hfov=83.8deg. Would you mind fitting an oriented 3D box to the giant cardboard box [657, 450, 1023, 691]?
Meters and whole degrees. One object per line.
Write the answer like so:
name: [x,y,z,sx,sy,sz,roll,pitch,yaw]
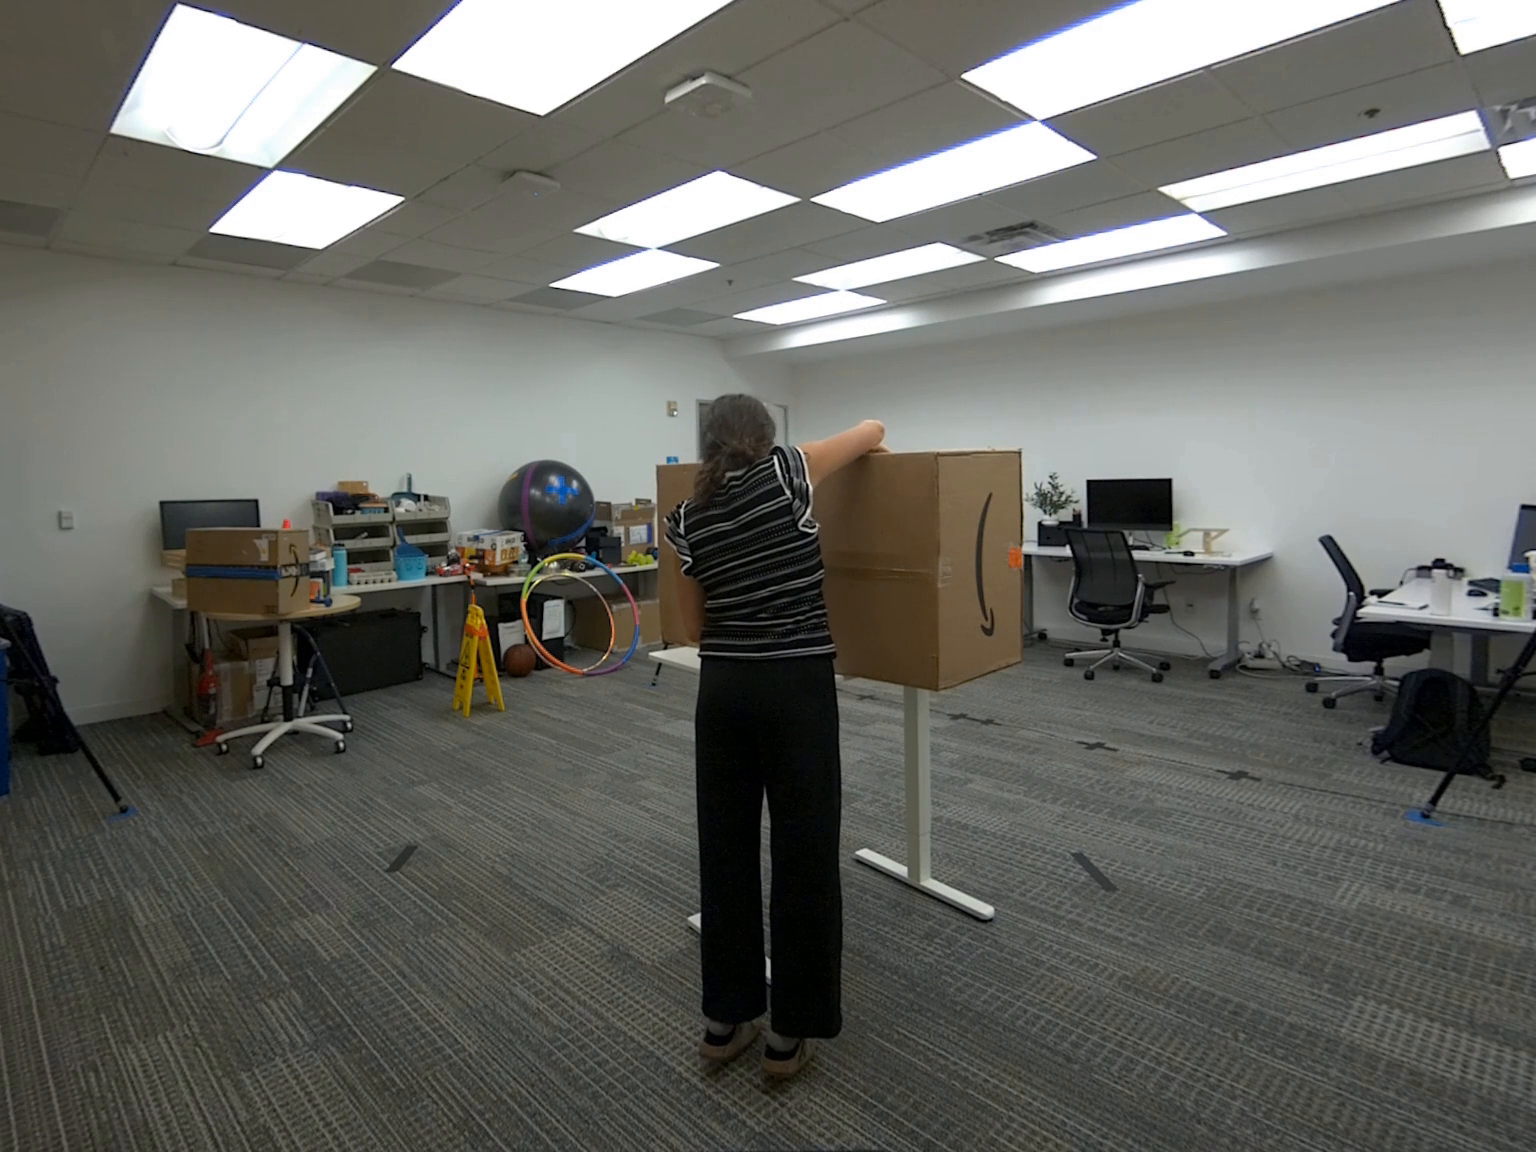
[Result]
giant cardboard box: [0.171,-0.063,2.521,1.057,0.575,0.415,4,7,44]
